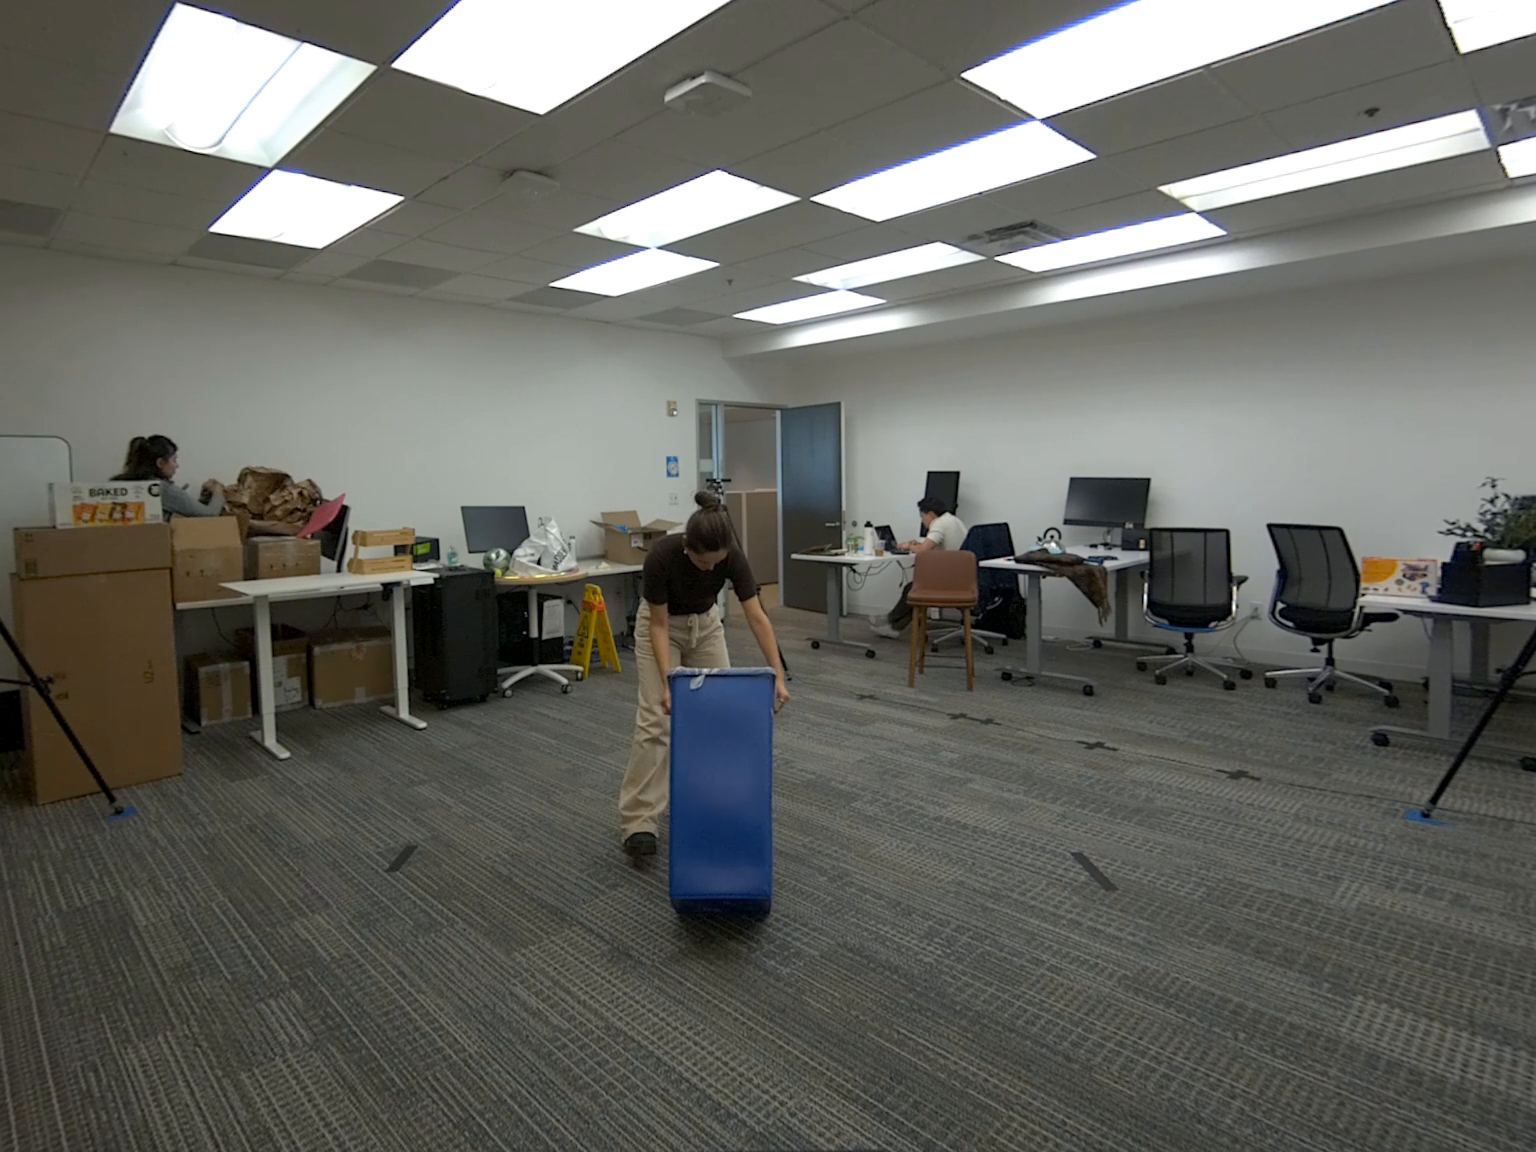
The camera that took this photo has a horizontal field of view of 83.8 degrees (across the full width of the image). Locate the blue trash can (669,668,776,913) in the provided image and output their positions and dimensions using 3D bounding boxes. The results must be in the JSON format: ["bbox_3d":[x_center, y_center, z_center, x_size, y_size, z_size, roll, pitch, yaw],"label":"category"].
[{"bbox_3d":[-0.144,0.712,2.811,0.378,0.731,0.365,0,-31,-1],"label":"blue trash can"}]
